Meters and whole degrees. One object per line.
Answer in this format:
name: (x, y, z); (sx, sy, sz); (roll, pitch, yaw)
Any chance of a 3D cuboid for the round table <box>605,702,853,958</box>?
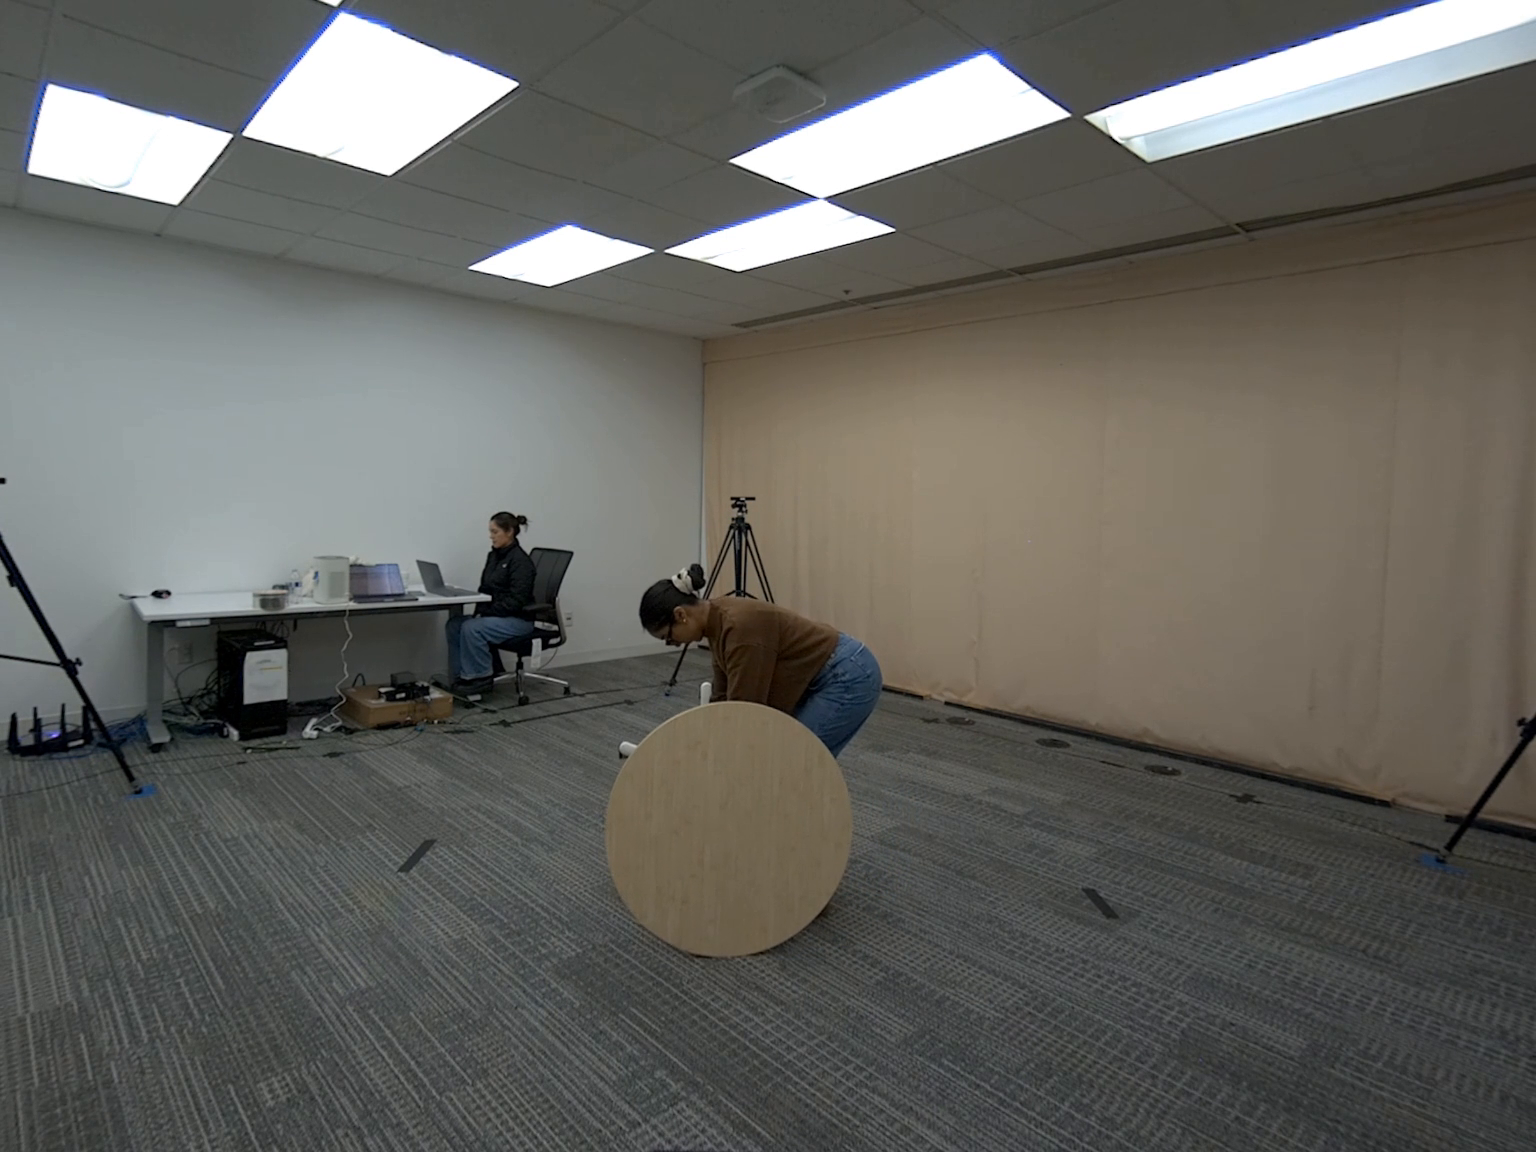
round table: (-0.185, 0.779, 2.963); (0.758, 0.765, 0.798); (1, -2, -9)
